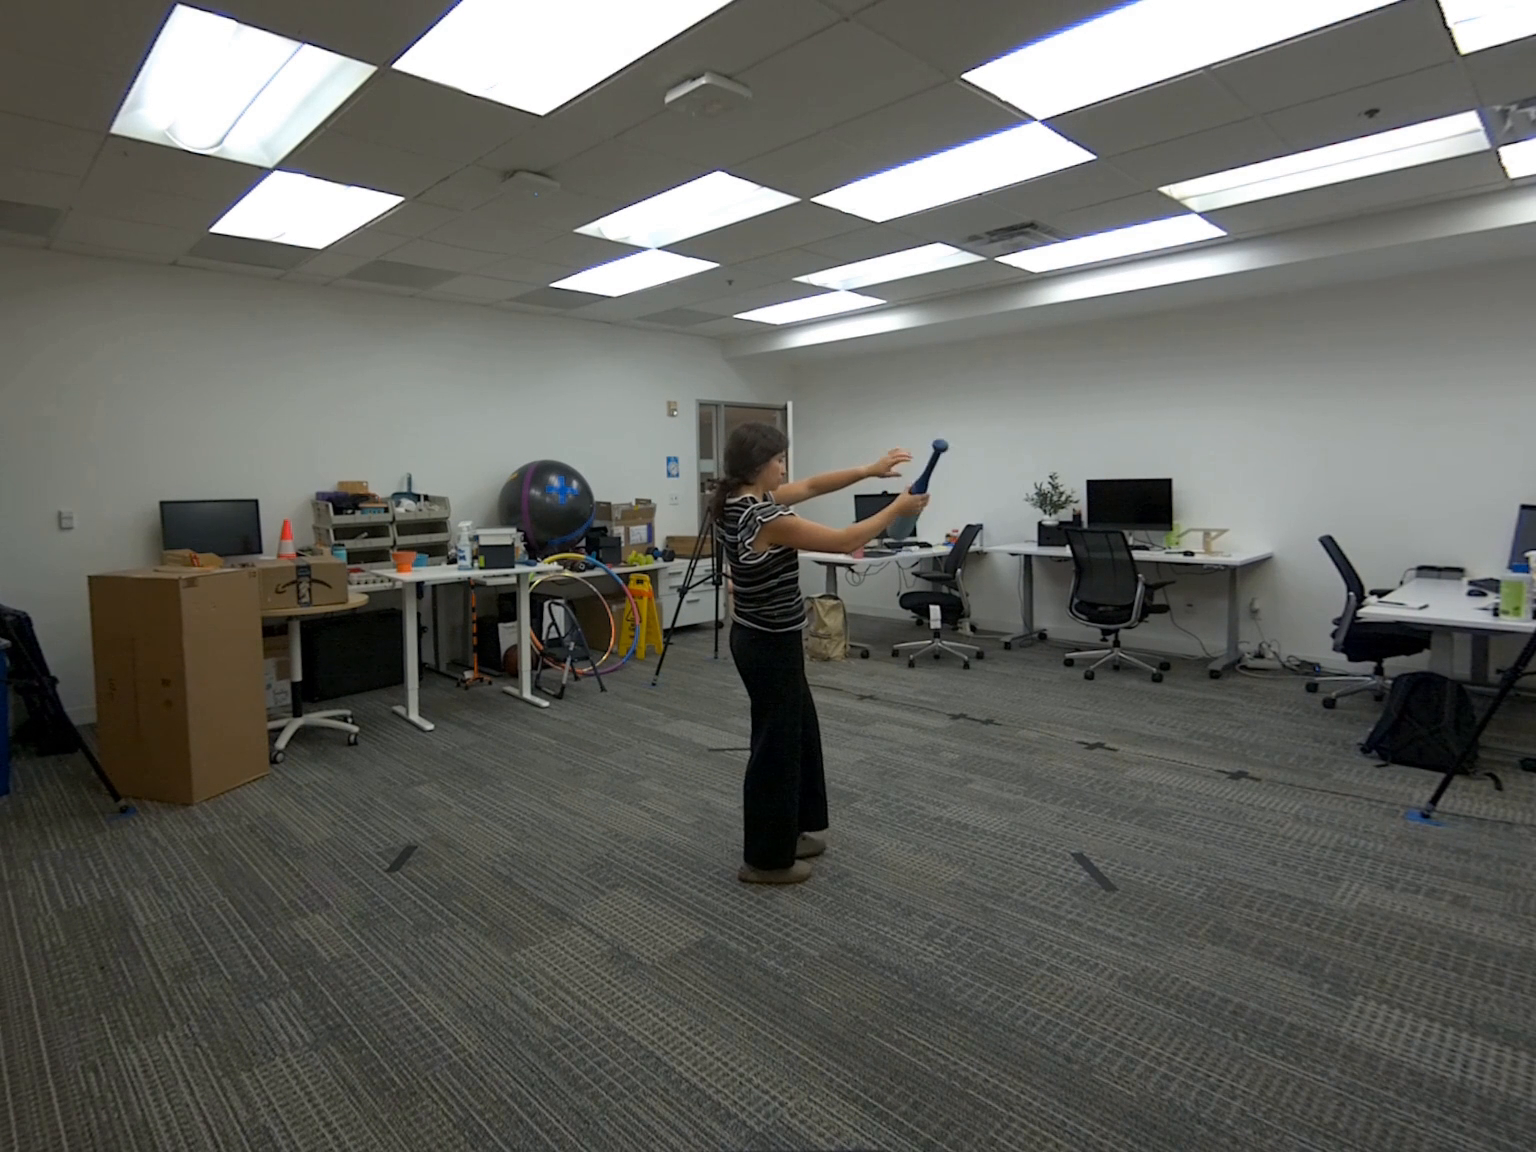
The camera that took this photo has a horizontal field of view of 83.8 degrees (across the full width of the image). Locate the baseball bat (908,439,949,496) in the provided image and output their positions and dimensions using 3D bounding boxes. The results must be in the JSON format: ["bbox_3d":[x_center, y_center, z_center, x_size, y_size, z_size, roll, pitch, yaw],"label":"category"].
[{"bbox_3d":[0.507,-0.286,2.887,0.088,0.091,0.533,-1,-29,-10],"label":"baseball bat"}]
